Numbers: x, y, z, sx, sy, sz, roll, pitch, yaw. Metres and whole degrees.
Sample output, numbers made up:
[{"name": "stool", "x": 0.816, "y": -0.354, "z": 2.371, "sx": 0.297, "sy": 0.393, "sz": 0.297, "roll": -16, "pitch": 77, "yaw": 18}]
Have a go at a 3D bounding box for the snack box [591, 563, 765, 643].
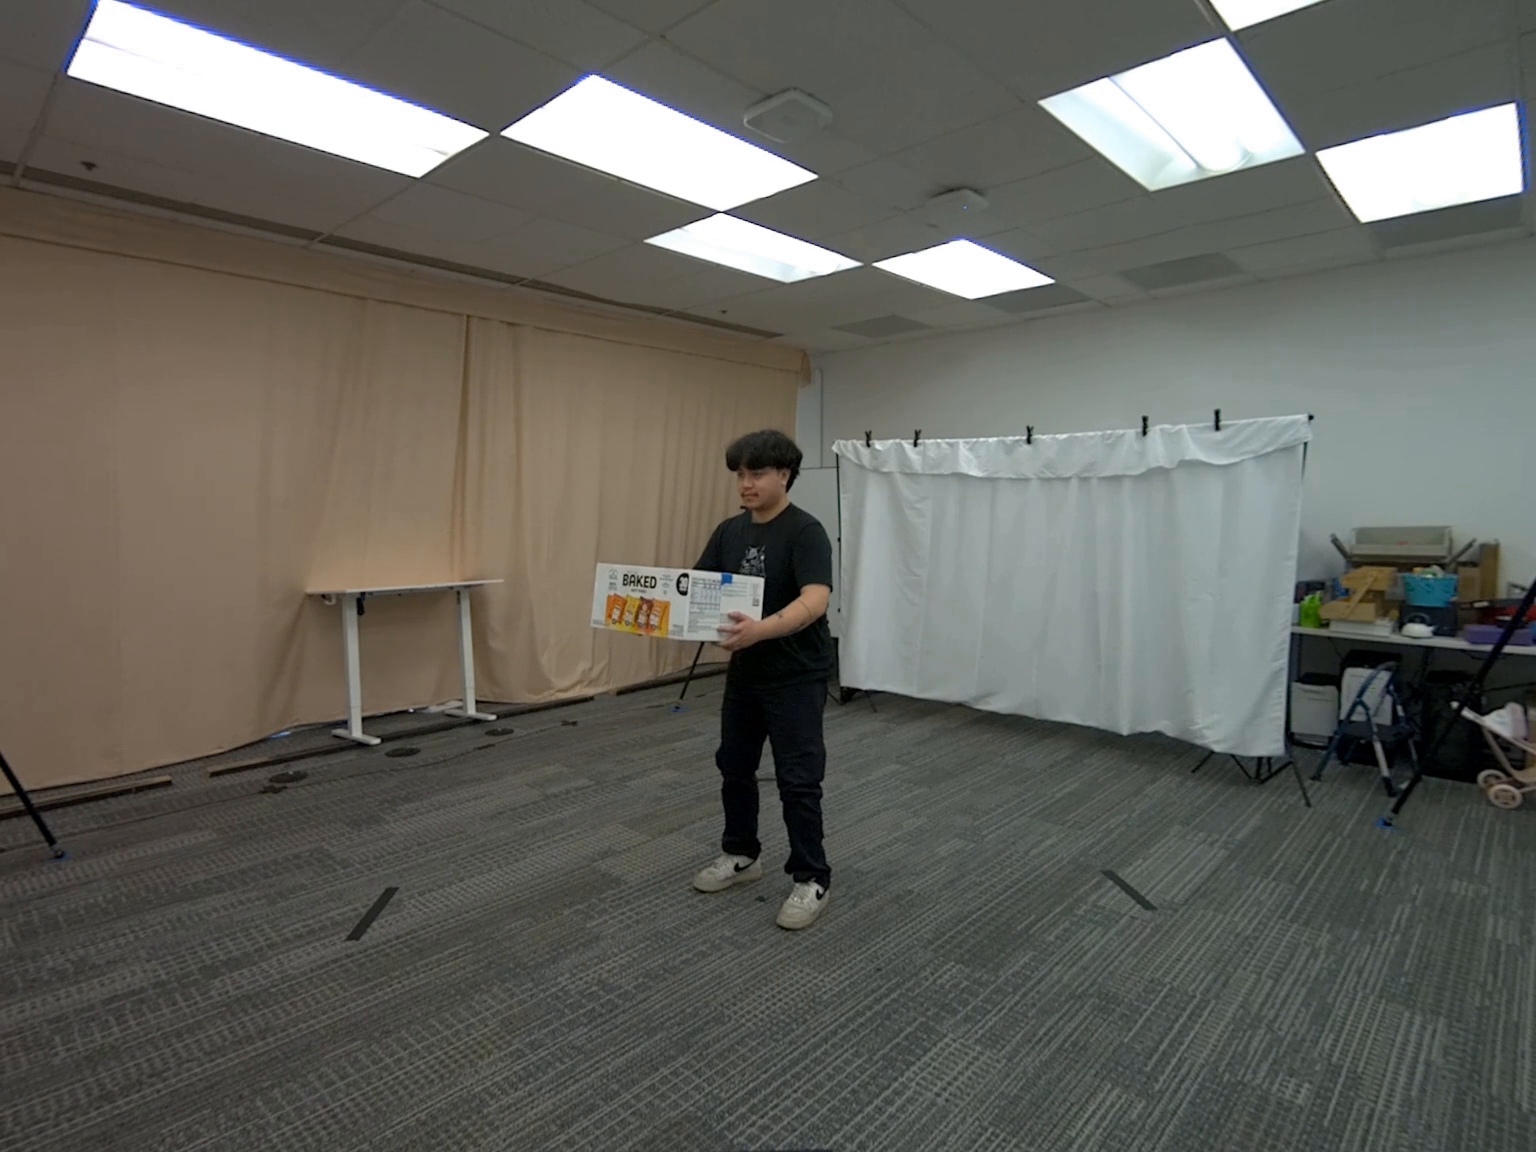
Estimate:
[{"name": "snack box", "x": -0.280, "y": 0.087, "z": 2.635, "sx": 0.418, "sy": 0.206, "sz": 0.329, "roll": 4, "pitch": -1, "yaw": 40}]
